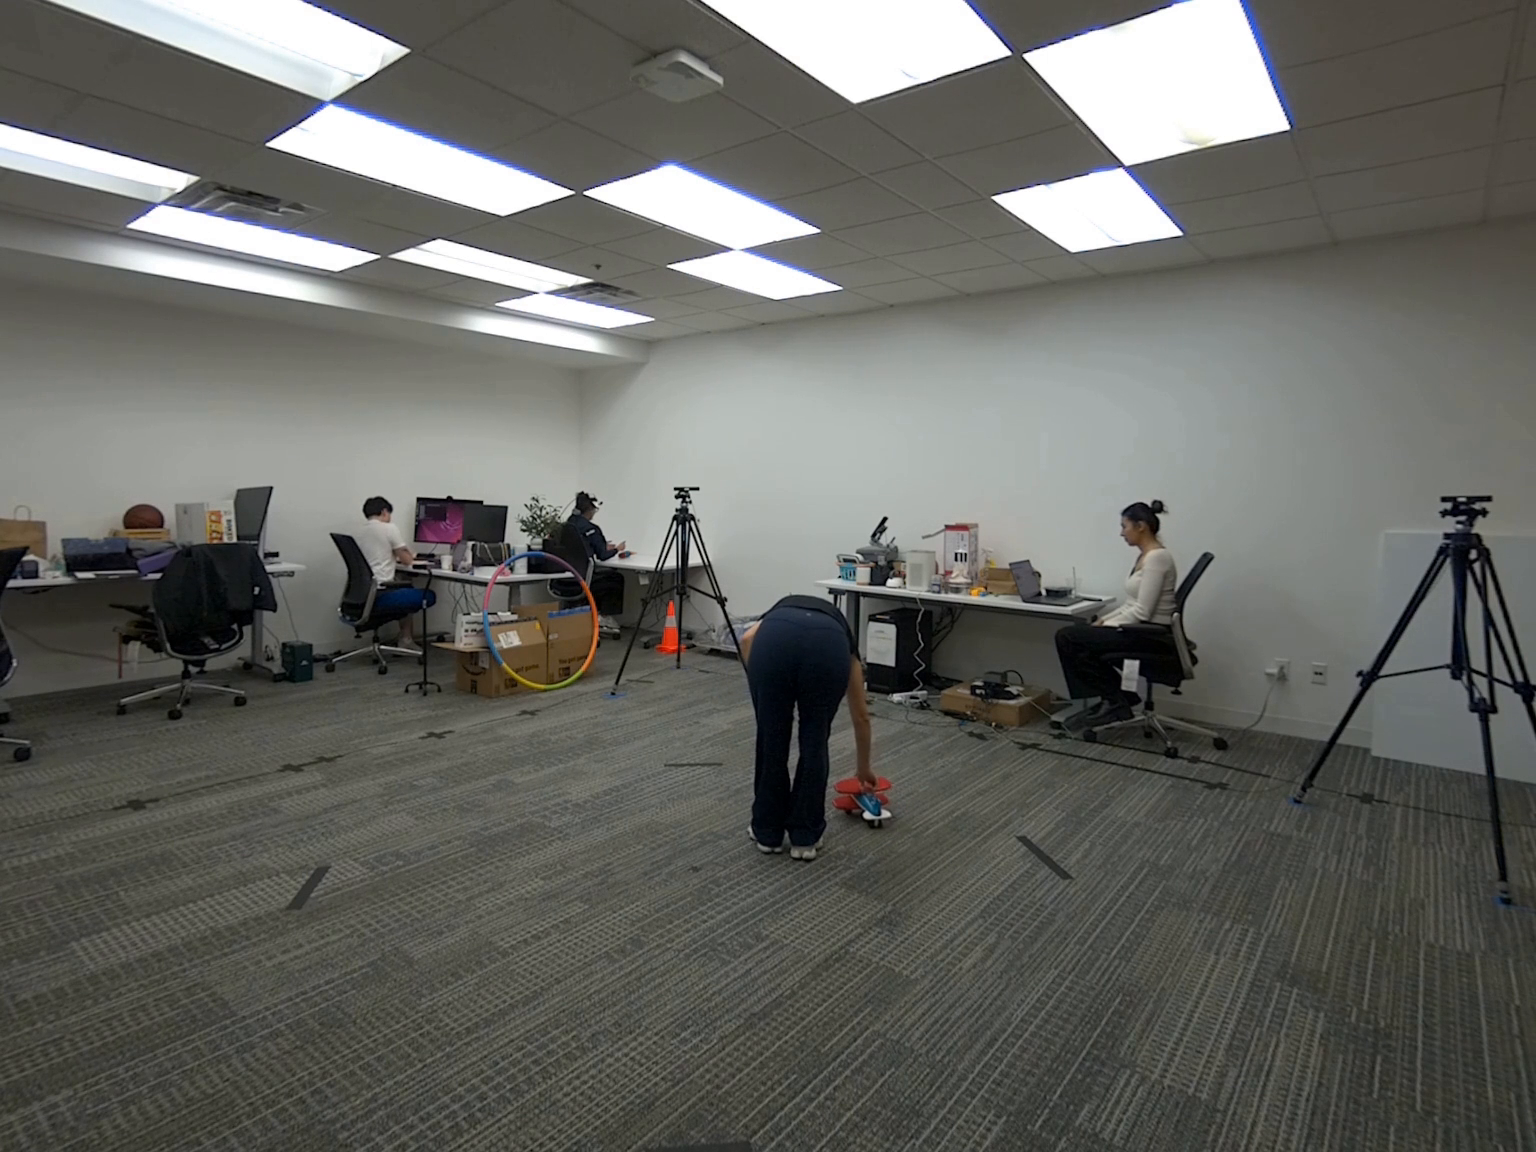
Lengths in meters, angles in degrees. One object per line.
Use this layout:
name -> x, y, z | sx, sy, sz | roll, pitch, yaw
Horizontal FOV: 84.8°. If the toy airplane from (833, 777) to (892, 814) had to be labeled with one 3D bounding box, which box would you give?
toy airplane -> 0.453, 0.952, 3.622 | 0.268, 0.156, 0.244 | 6, 8, 44
